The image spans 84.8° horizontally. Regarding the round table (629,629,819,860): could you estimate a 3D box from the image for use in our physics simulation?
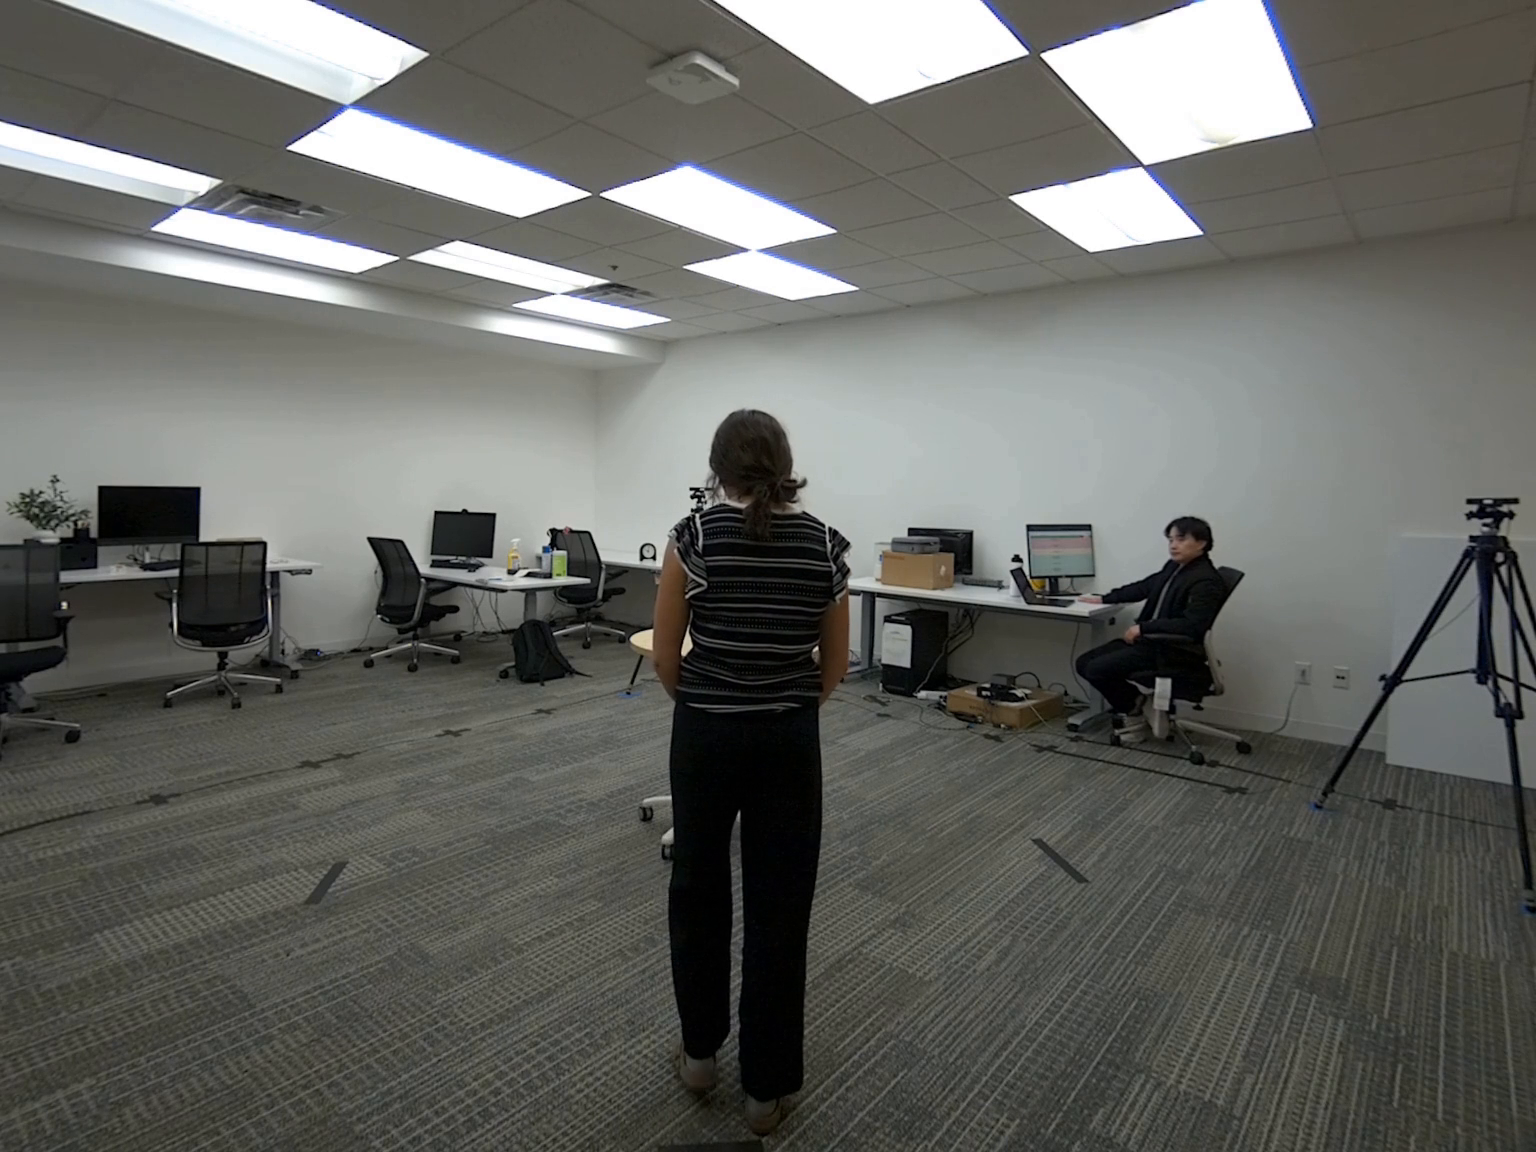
[{"bbox_3d":[-0.201,0.638,3.407,0.784,0.784,0.789,1,4,-2],"label":"round table"}]
